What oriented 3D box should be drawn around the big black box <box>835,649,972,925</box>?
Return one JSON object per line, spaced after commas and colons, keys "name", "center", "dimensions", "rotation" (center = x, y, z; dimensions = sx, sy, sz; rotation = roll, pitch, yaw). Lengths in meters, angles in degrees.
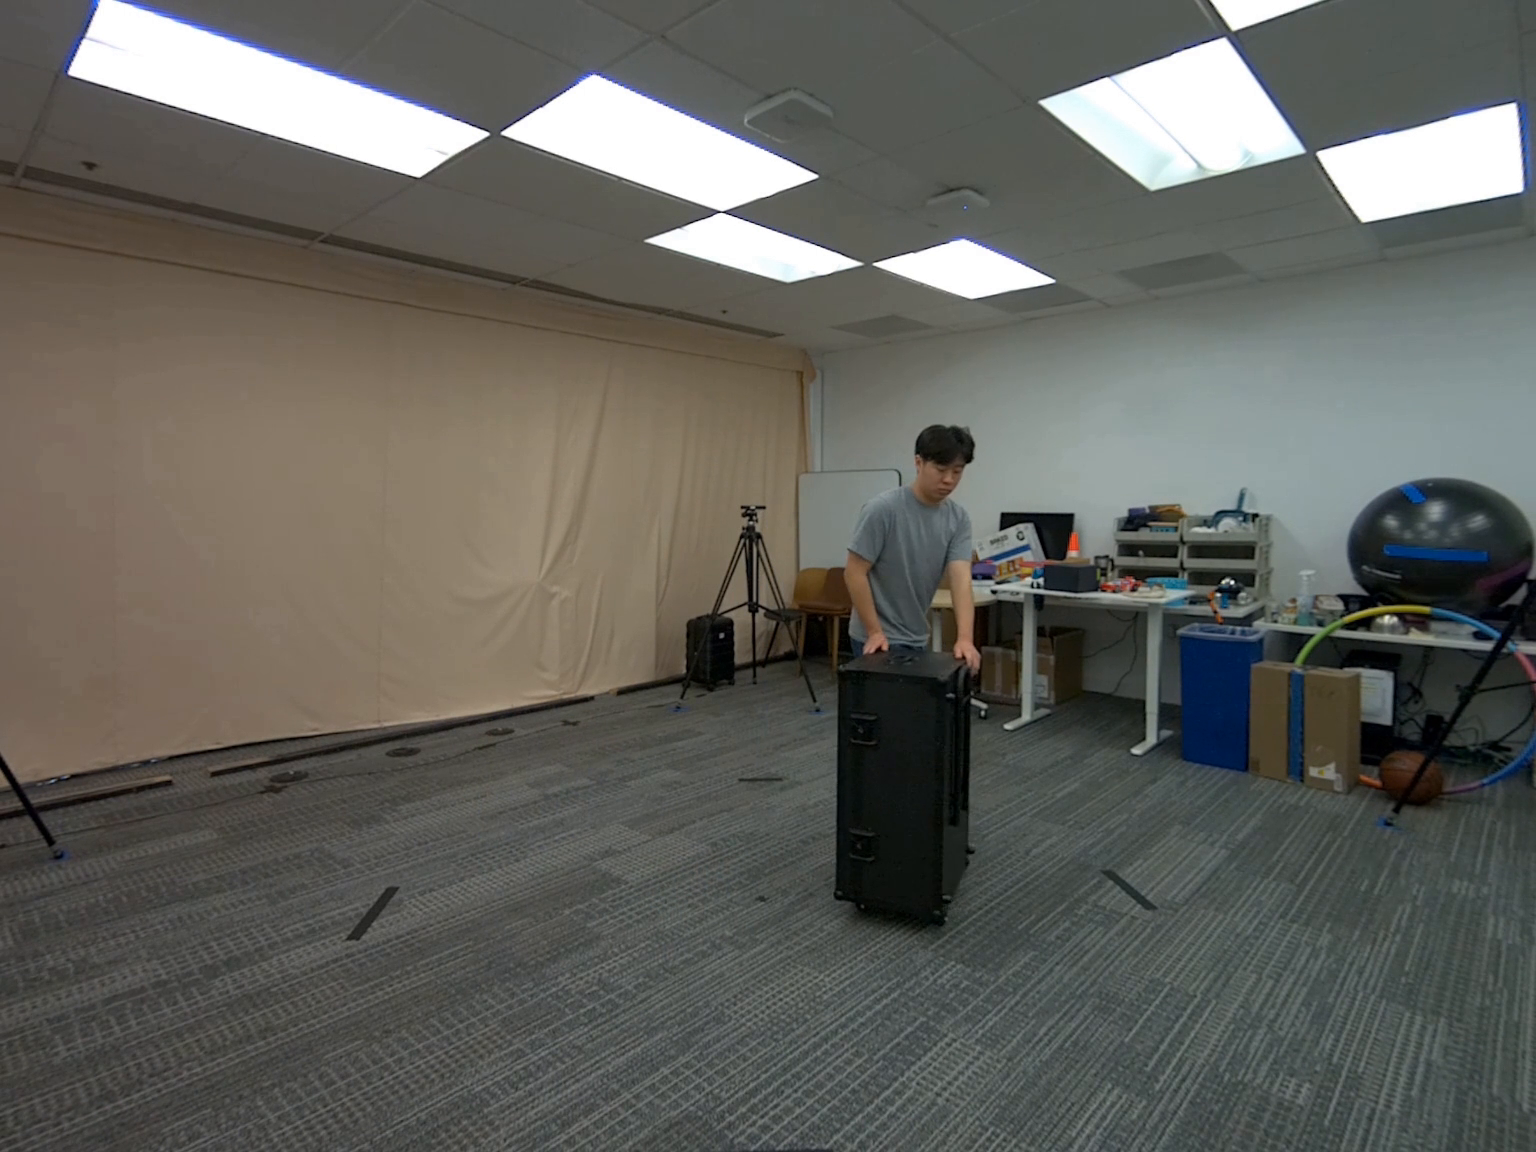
{"name": "big black box", "center": [0.497, 0.719, 2.939], "dimensions": [0.406, 0.860, 0.509], "rotation": [2, 3, 25]}
